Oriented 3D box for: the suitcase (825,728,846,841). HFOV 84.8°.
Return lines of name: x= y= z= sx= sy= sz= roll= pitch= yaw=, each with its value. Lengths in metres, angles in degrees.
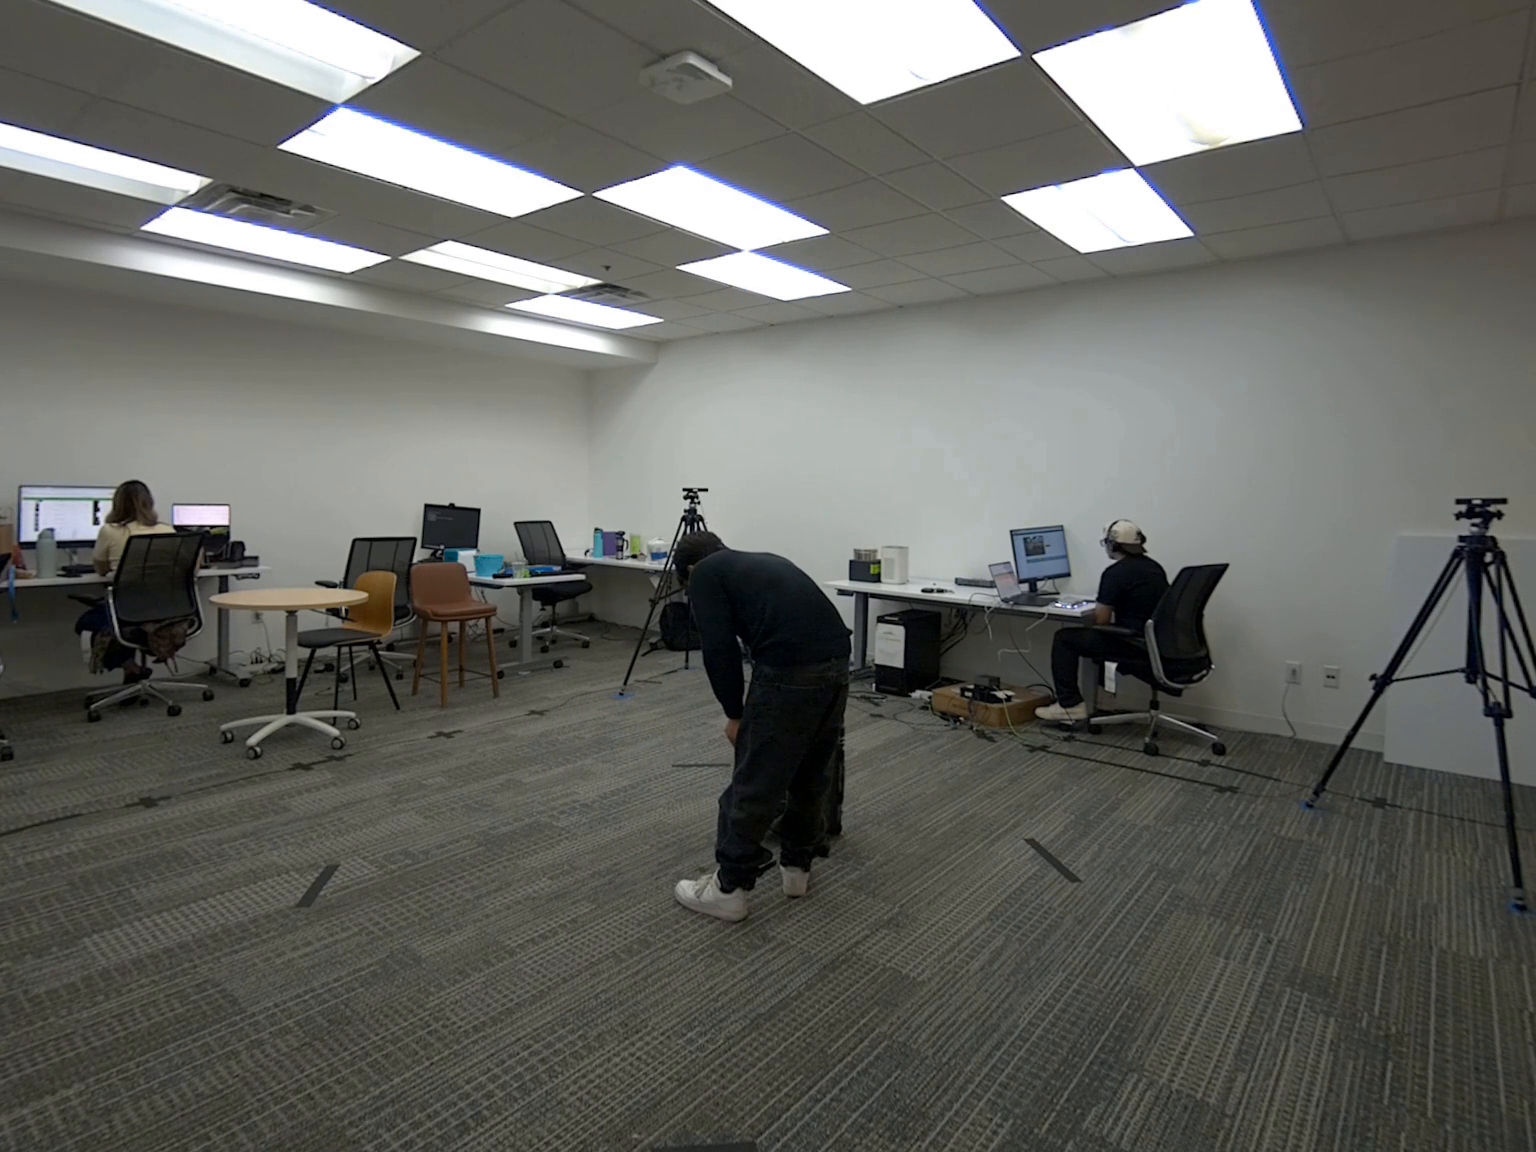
suitcase: x=0.107 y=0.767 z=3.396 sx=0.386 sy=0.547 sz=0.242 roll=5 pitch=5 yaw=28
